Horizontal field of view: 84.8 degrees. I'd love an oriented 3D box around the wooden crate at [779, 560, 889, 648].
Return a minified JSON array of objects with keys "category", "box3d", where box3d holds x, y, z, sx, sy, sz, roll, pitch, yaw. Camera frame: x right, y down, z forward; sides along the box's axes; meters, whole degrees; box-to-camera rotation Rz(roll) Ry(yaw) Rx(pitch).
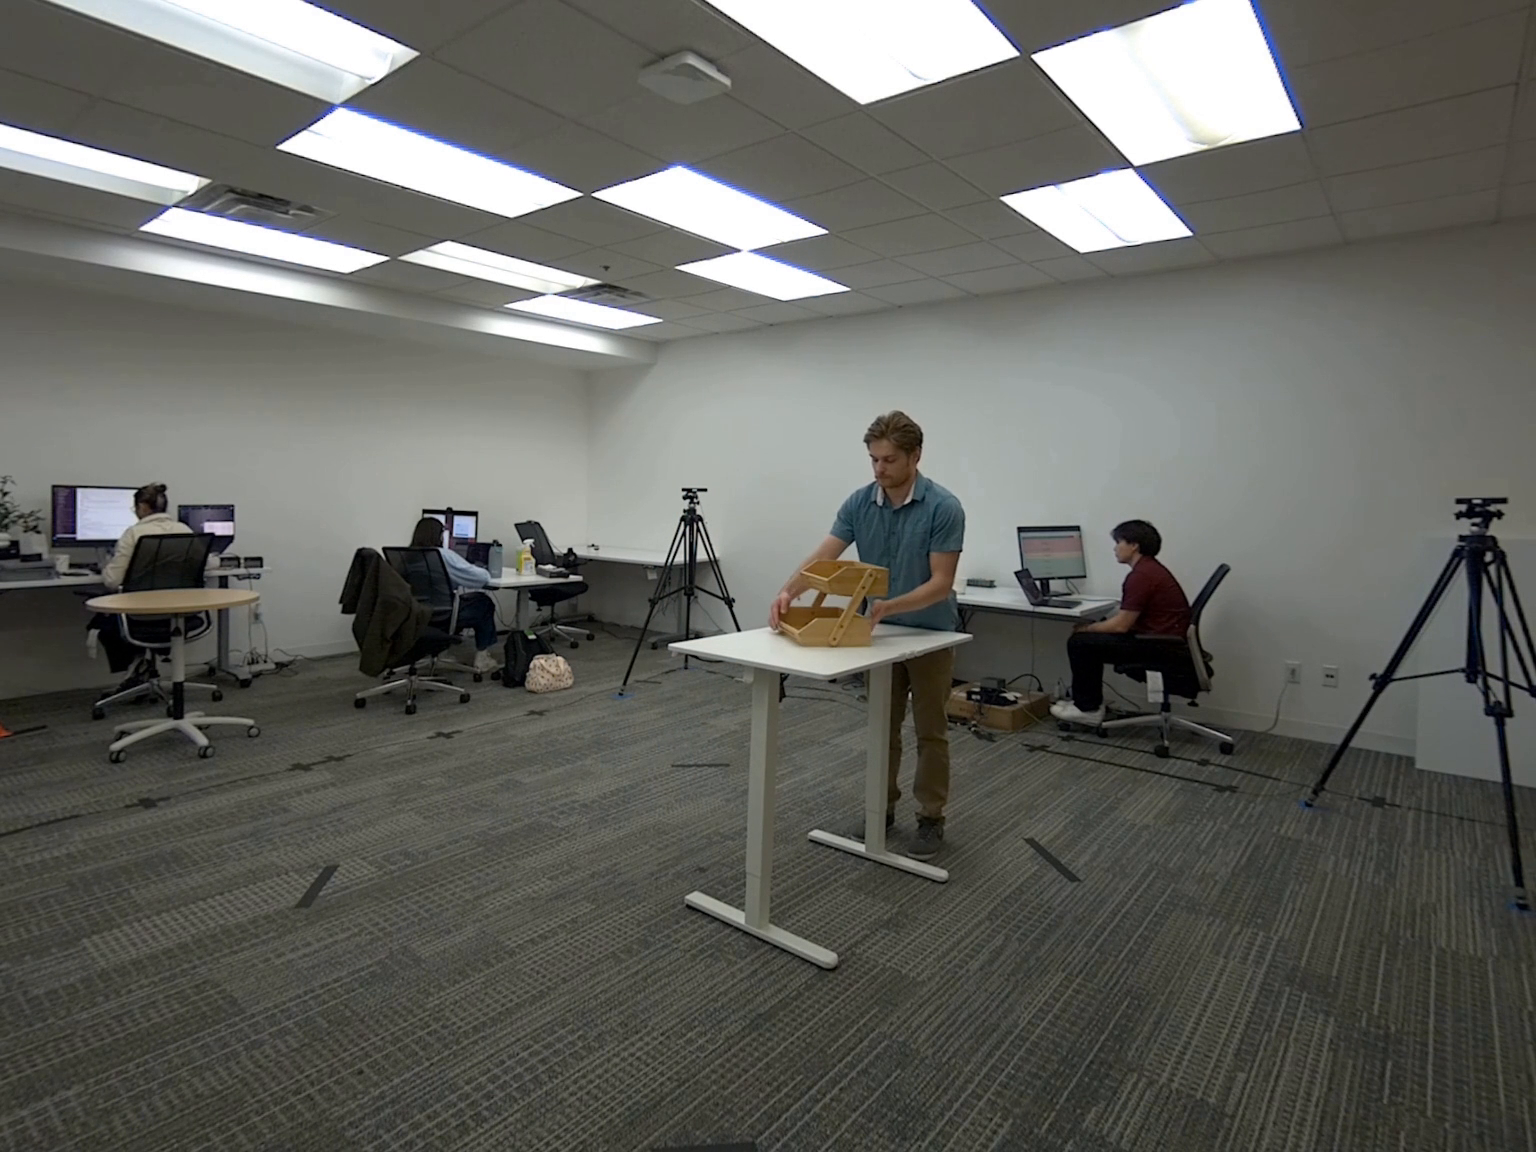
[{"category":"wooden crate","box3d":[0.201,0.088,2.911,0.298,0.272,0.330,1,5,-12]}]
